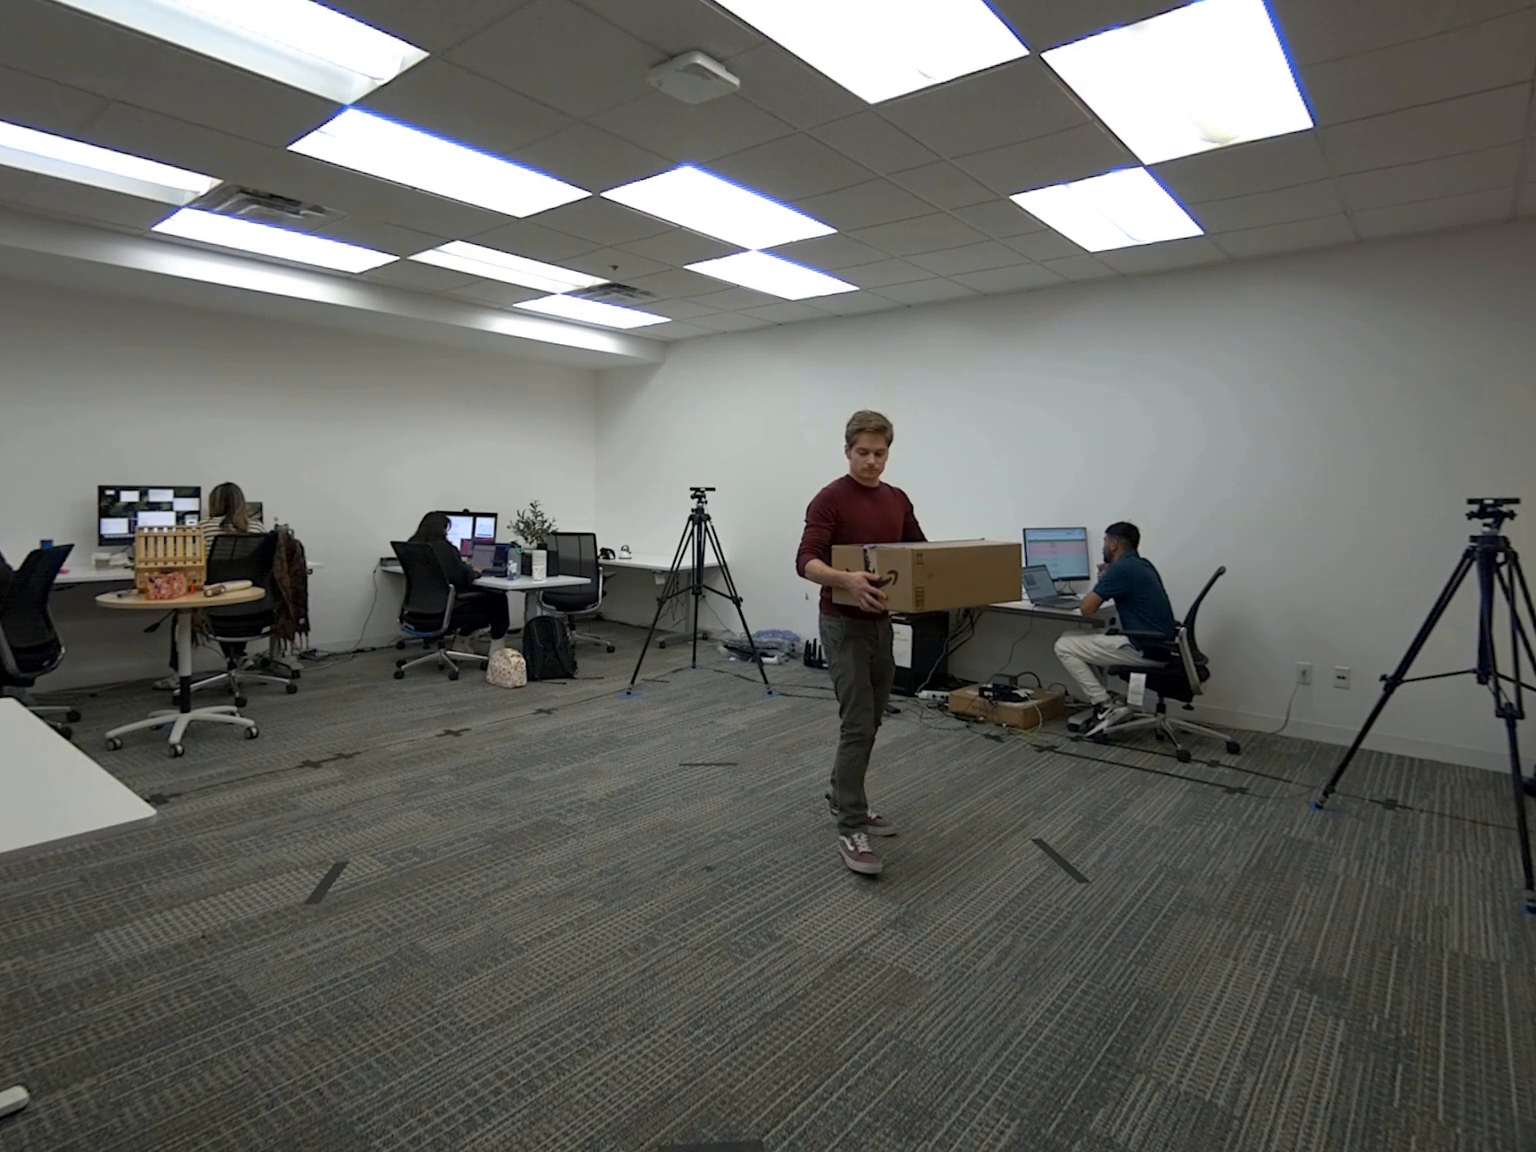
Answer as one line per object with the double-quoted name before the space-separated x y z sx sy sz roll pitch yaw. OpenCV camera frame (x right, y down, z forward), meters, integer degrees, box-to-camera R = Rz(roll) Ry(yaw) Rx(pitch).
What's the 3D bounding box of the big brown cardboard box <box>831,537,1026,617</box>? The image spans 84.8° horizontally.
"big brown cardboard box" 0.586 -0.014 3.119 0.573 0.232 0.430 -4 5 -34
